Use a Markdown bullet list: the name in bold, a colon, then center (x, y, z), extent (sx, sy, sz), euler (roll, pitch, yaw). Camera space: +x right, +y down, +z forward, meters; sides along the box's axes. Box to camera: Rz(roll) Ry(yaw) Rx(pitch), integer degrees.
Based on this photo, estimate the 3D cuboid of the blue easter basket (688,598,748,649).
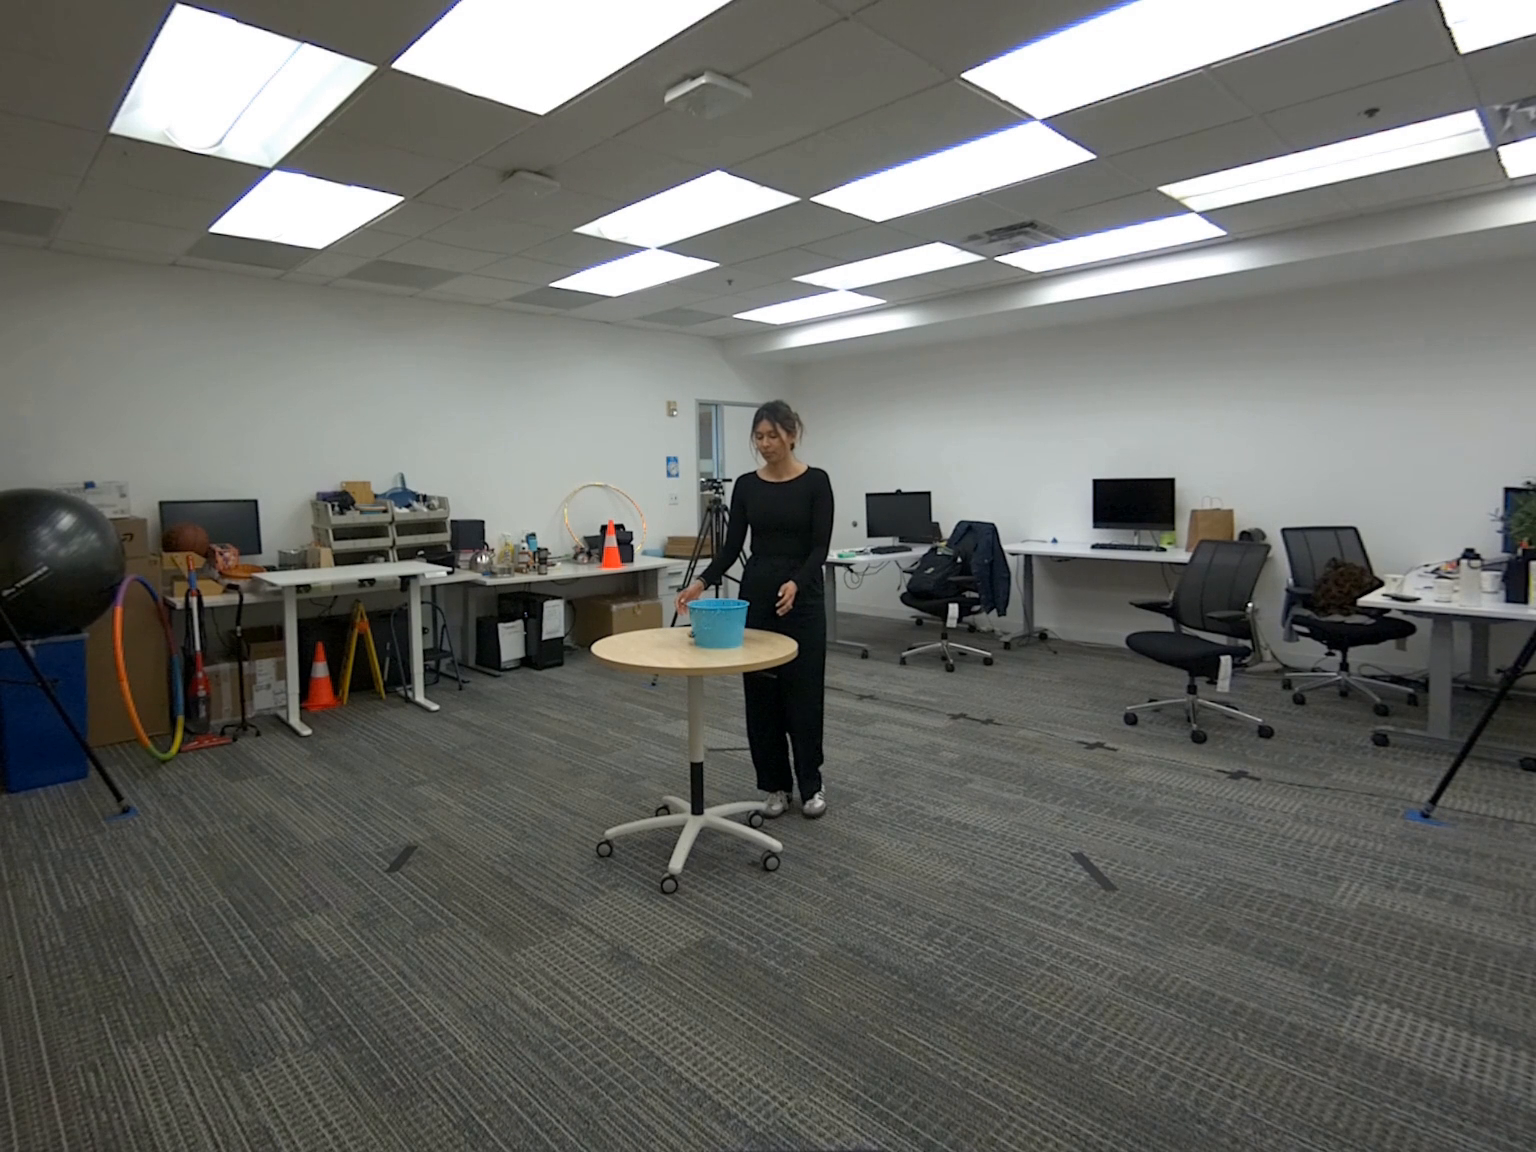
- **blue easter basket**: center (-0.193, 0.180, 3.196), extent (0.243, 0.155, 0.245), euler (0, 6, -2)
